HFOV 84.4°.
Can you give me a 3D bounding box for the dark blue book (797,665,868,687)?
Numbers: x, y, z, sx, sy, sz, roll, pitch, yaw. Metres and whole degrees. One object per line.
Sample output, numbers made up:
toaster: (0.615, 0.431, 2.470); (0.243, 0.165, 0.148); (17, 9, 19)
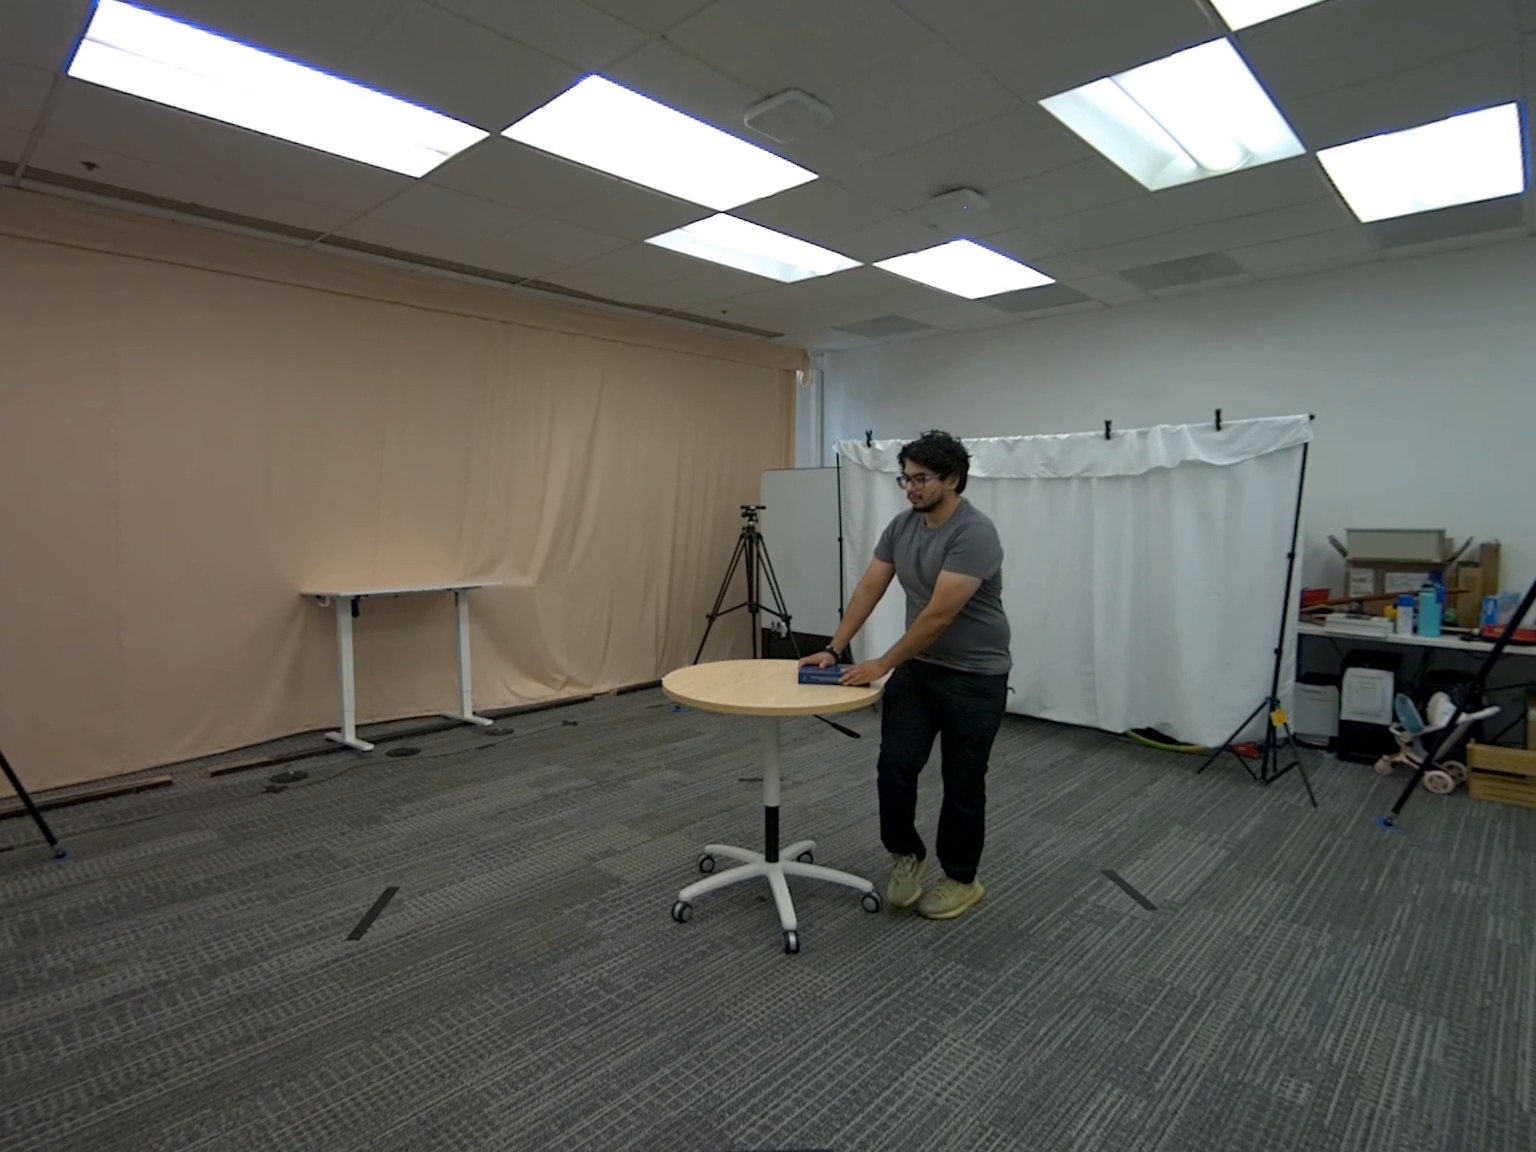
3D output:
dark blue book: (0.236, 0.347, 2.936); (0.247, 0.045, 0.162); (1, 5, 8)
